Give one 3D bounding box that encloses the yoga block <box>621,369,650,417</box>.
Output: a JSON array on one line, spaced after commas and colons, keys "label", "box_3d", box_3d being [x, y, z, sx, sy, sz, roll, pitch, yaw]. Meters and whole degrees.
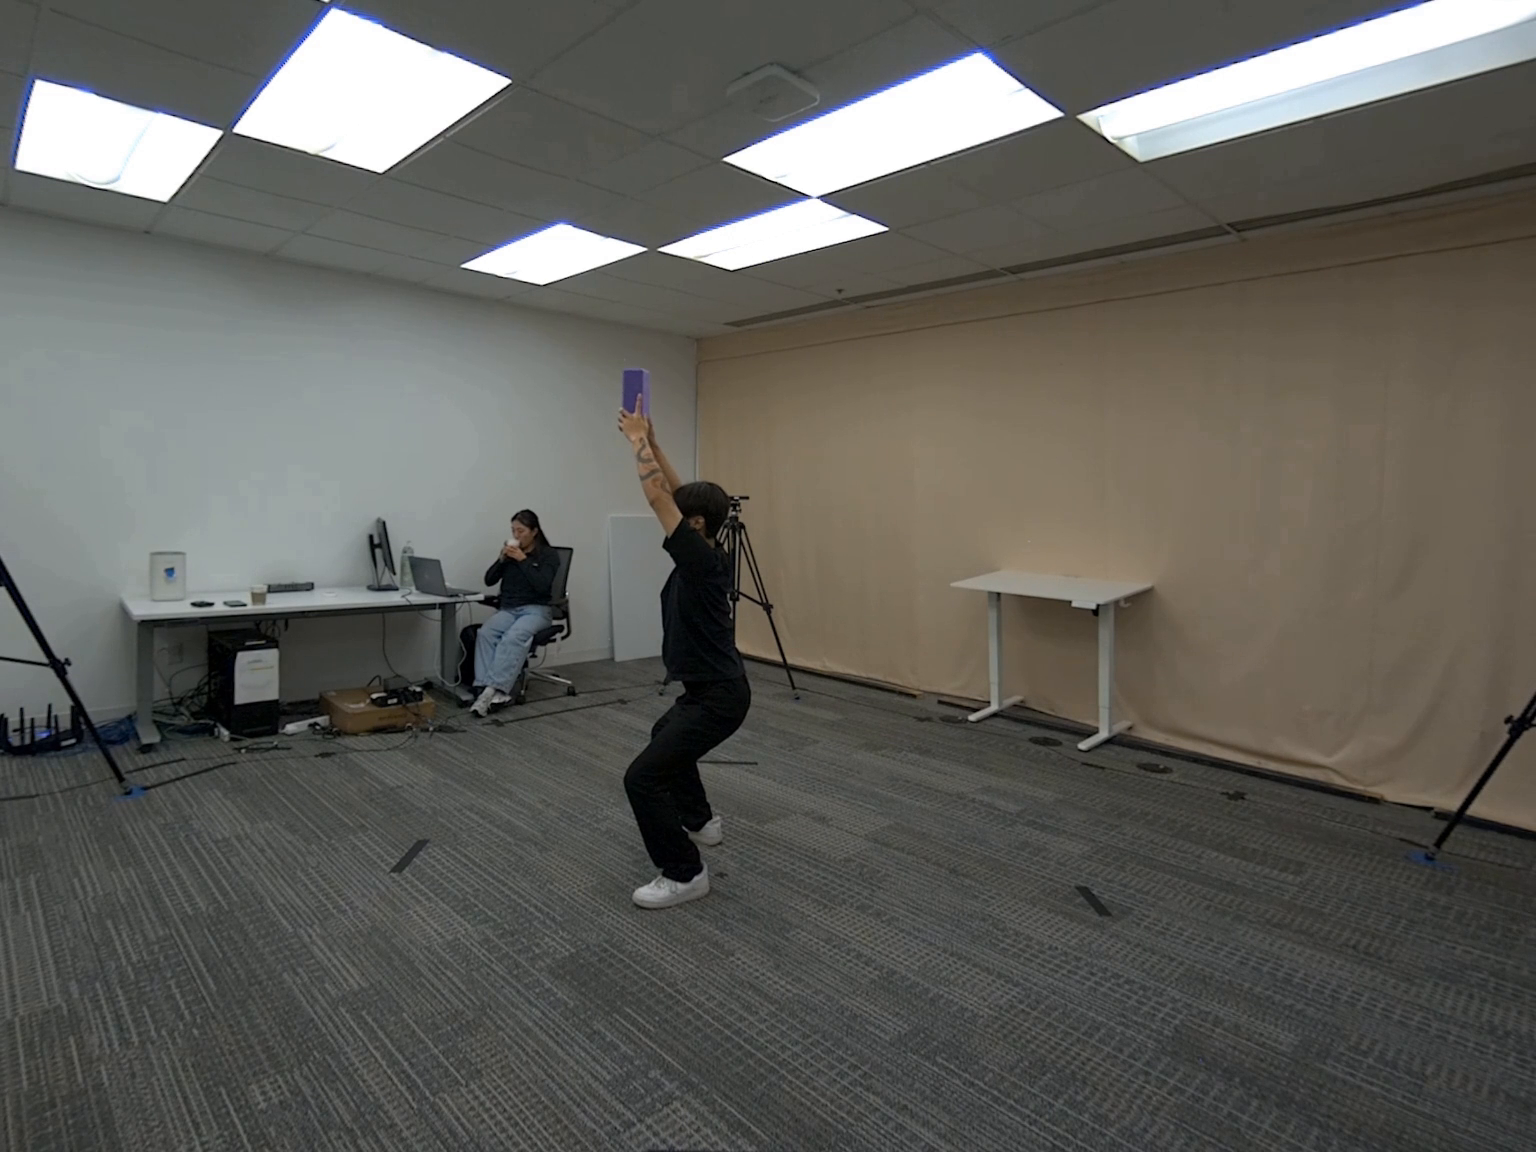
[{"label": "yoga block", "box_3d": [-0.500, -0.651, 3.111, 0.077, 0.228, 0.149, 4, 9, 5]}]
